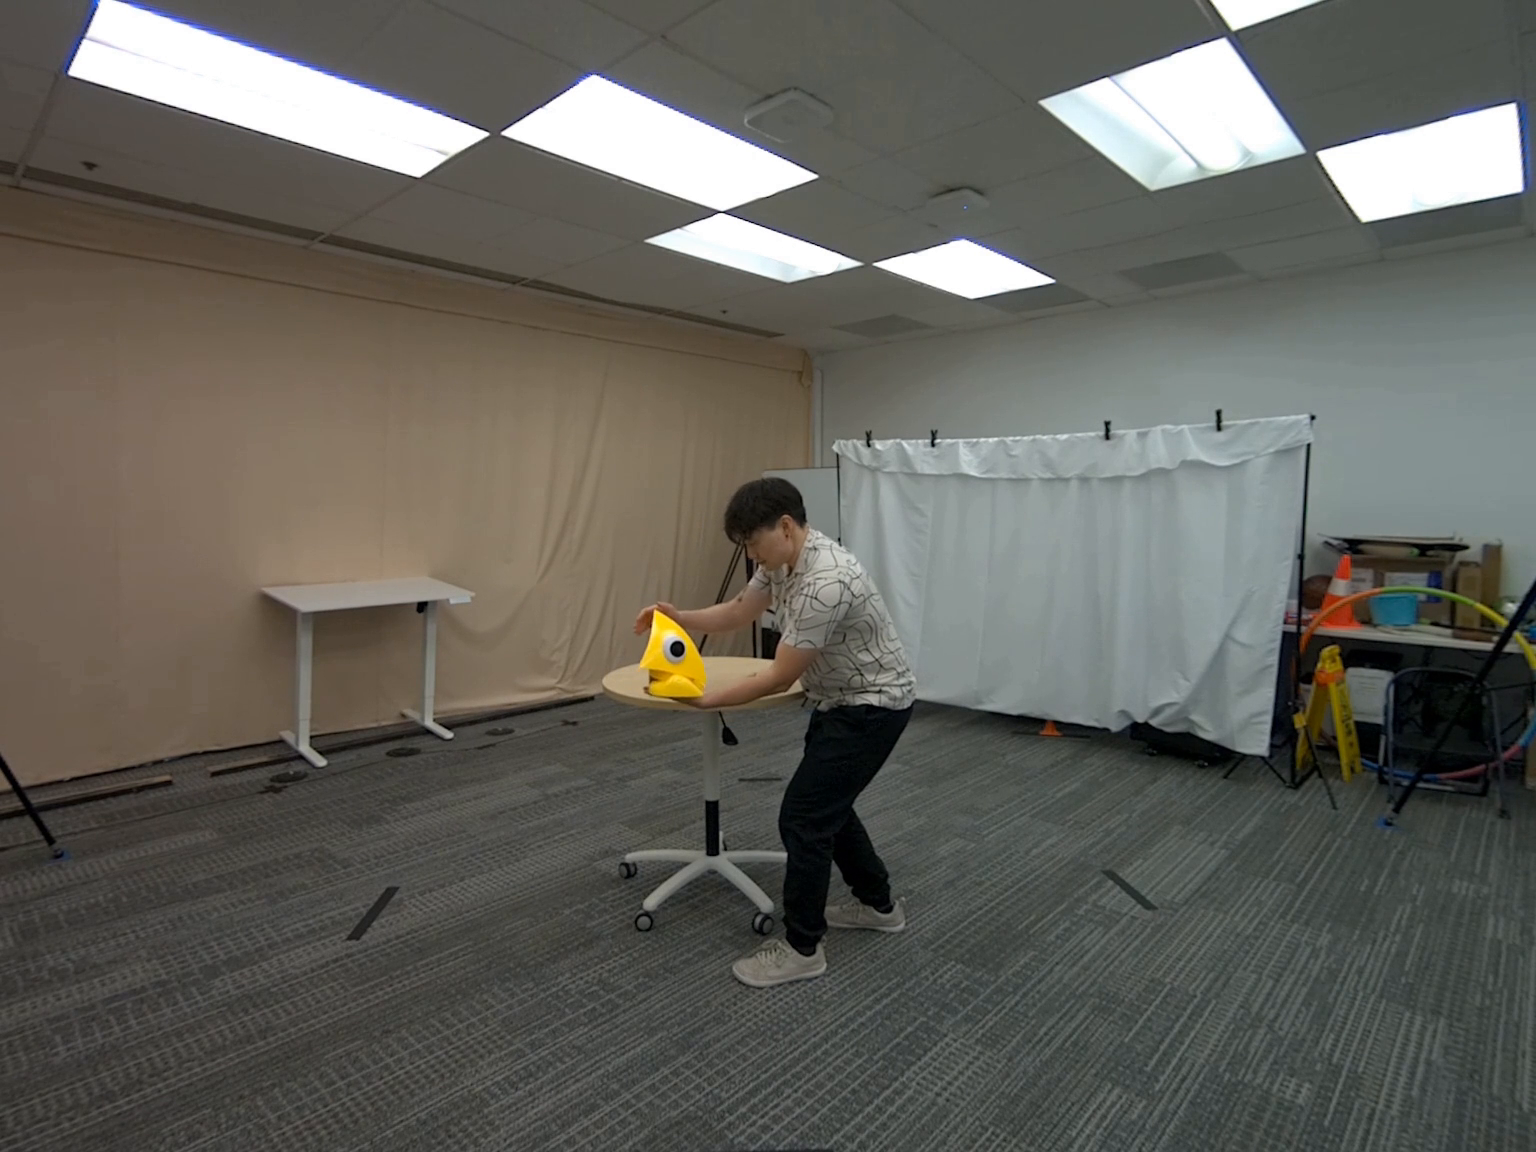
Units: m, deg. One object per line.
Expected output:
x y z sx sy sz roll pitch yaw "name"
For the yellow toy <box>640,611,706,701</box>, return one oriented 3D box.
-0.265 0.220 2.428 0.193 0.230 0.205 2 1 0 "yellow toy"
